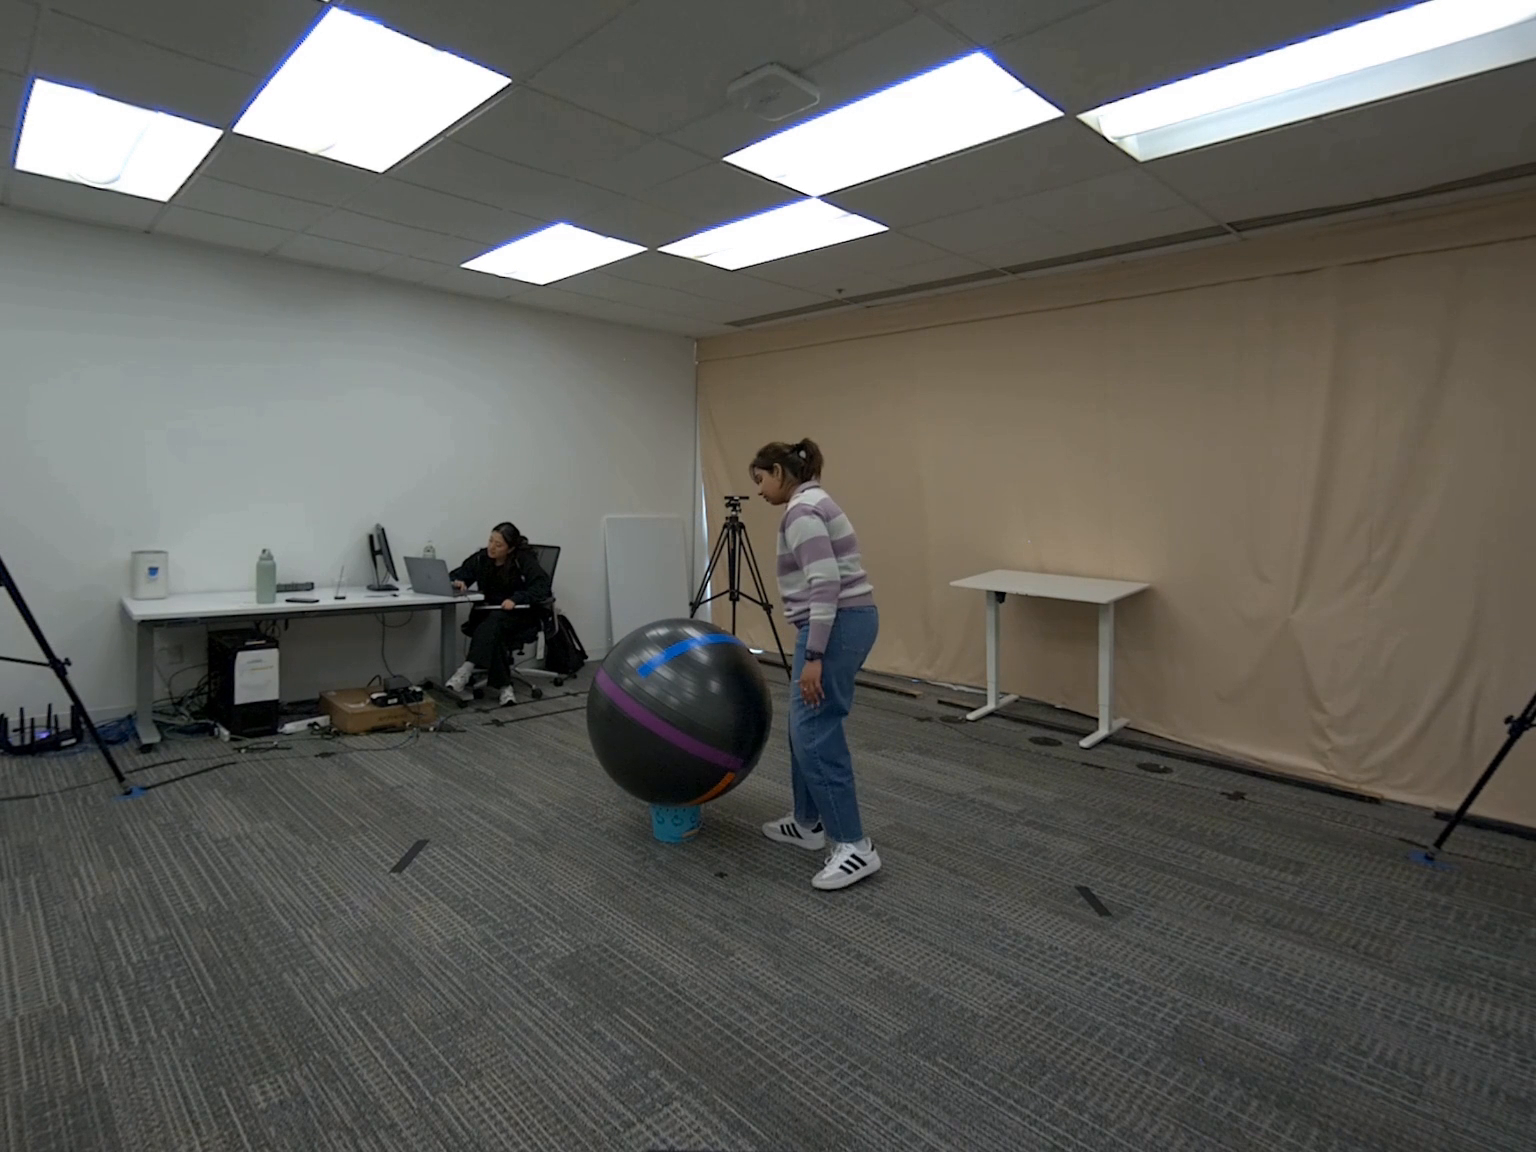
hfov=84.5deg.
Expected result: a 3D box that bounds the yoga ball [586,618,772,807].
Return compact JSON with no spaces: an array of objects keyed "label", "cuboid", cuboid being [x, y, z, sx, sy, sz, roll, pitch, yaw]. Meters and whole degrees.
[{"label":"yoga ball","cuboid":[-0.366,0.557,3.480,0.757,0.756,0.761,1,4,-1]}]
